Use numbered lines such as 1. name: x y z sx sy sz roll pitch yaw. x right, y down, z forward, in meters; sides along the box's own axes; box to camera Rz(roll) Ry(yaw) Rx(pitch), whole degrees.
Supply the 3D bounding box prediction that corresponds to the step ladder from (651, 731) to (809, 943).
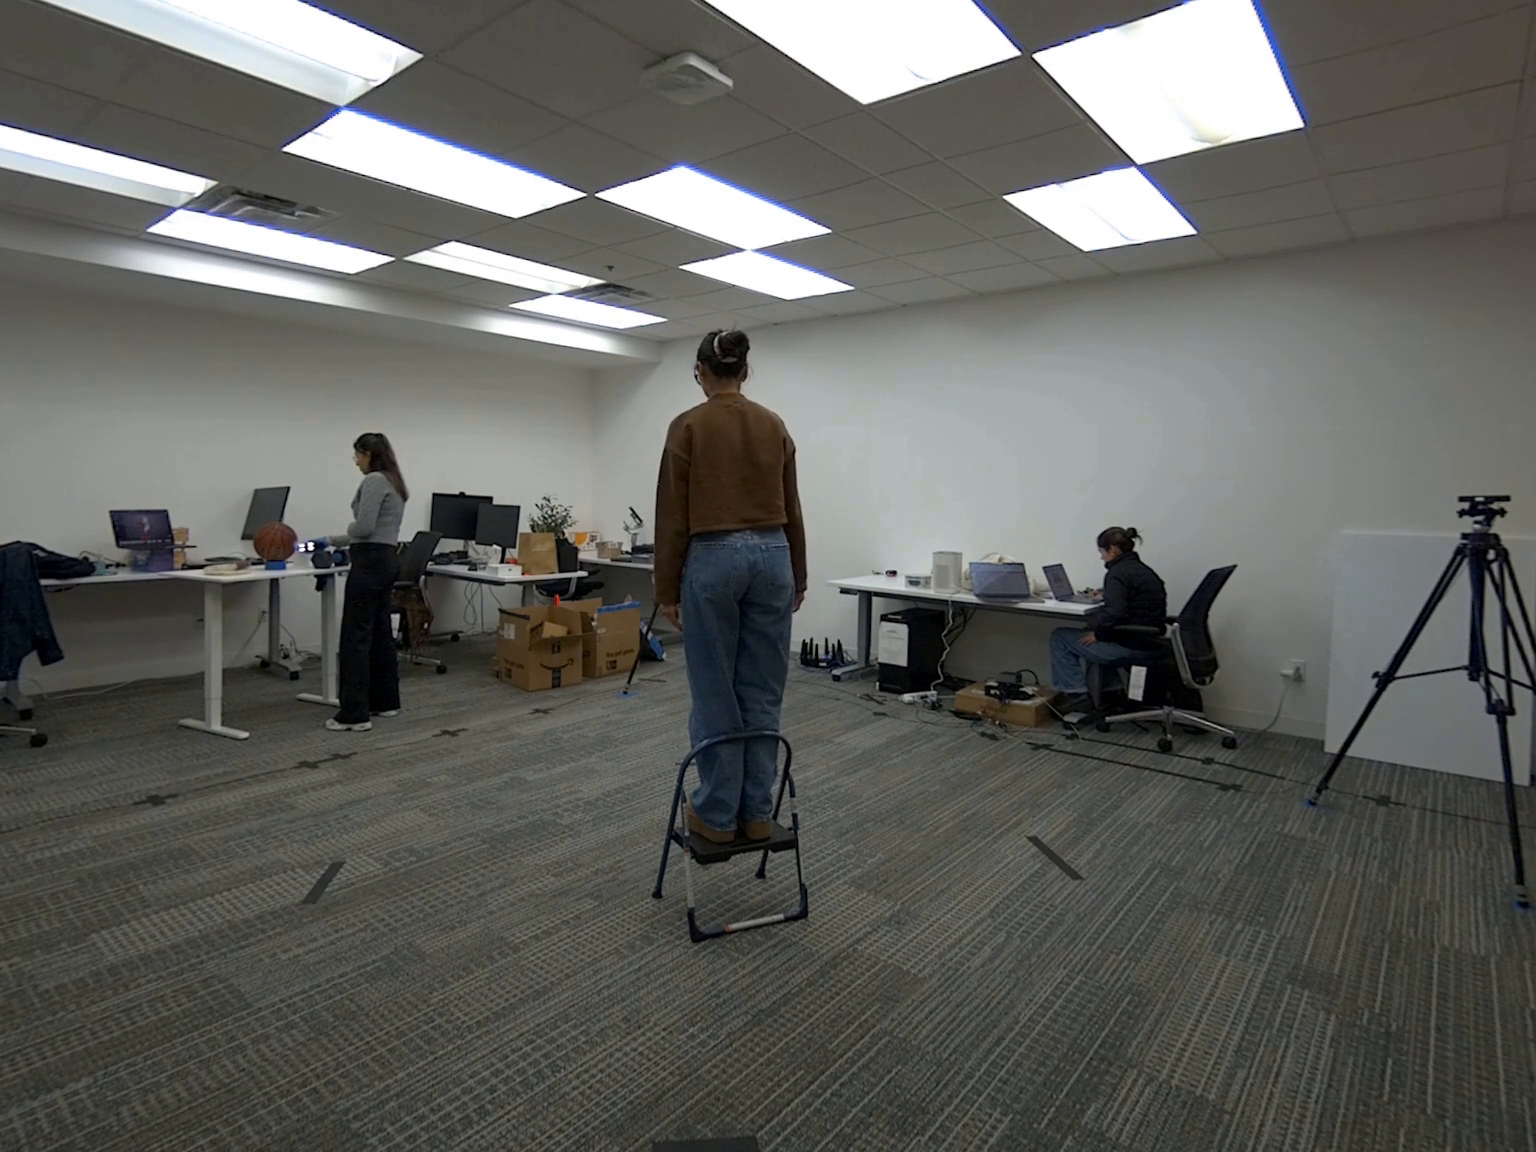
1. step ladder: -0.130 0.797 2.812 0.420 0.604 0.359 -1 4 -27
